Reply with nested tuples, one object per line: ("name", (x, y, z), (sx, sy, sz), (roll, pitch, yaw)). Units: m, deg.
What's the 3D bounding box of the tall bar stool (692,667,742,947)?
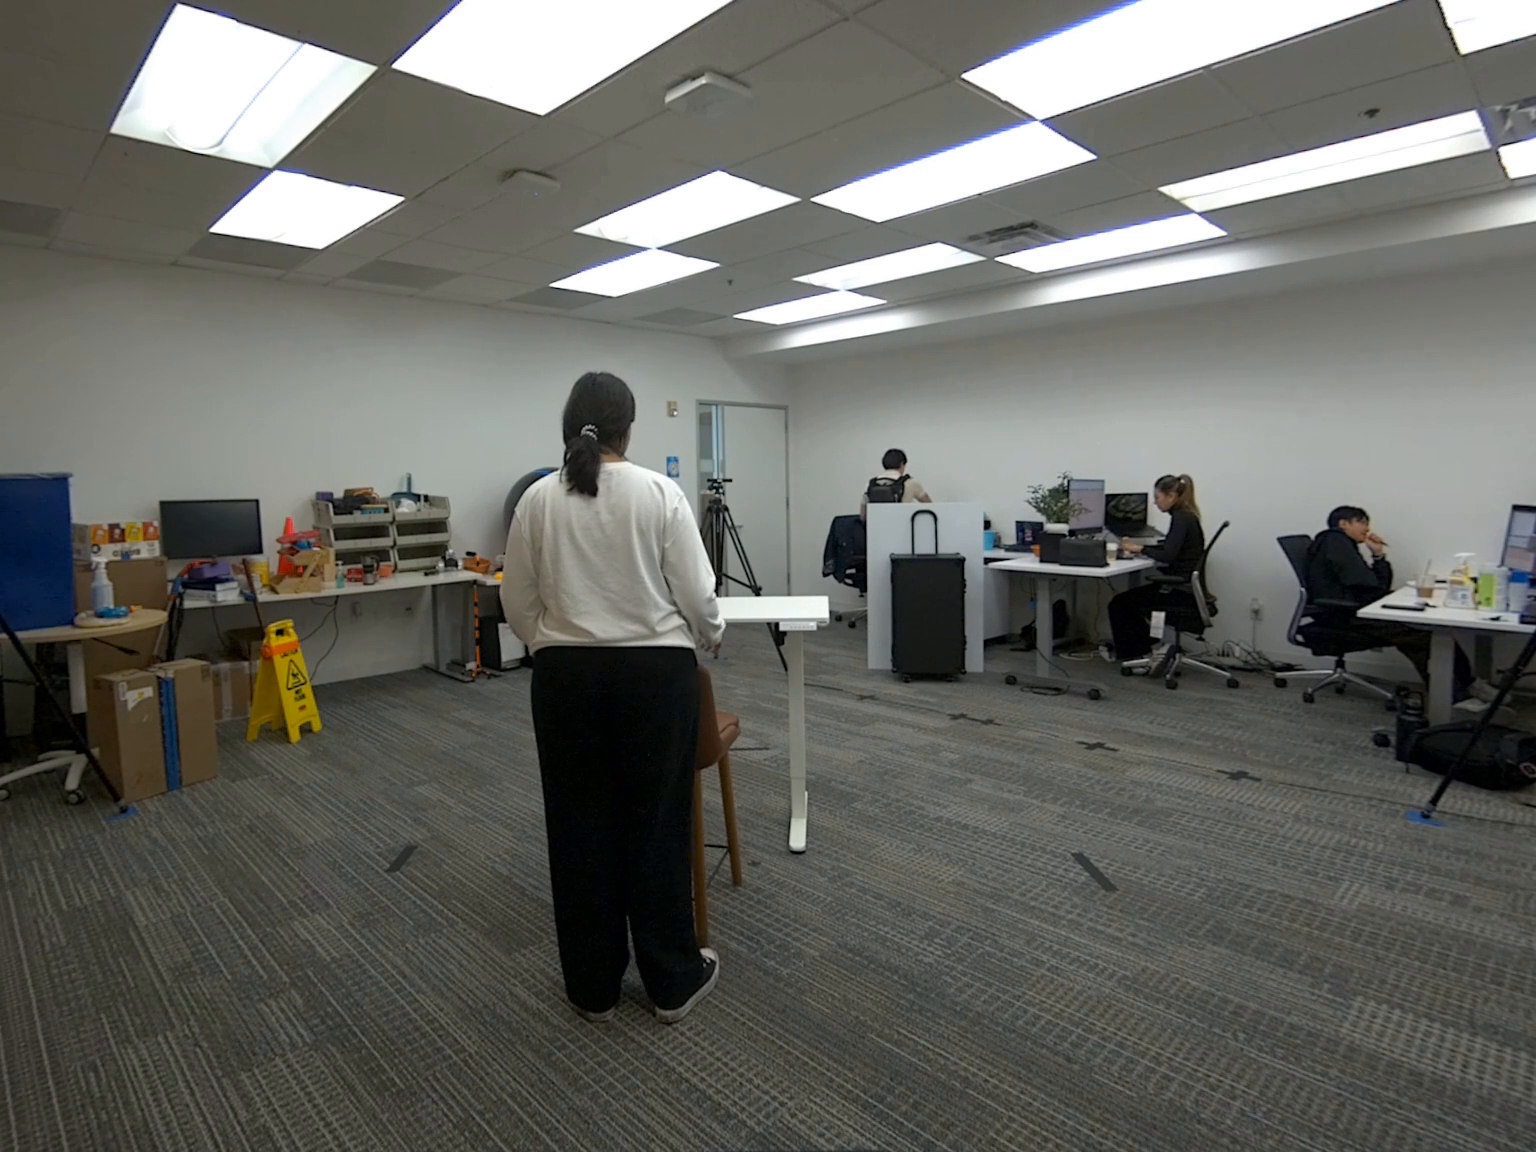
("tall bar stool", (-0.324, 0.657, 2.748), (0.462, 0.884, 0.465), (0, 8, 12))
